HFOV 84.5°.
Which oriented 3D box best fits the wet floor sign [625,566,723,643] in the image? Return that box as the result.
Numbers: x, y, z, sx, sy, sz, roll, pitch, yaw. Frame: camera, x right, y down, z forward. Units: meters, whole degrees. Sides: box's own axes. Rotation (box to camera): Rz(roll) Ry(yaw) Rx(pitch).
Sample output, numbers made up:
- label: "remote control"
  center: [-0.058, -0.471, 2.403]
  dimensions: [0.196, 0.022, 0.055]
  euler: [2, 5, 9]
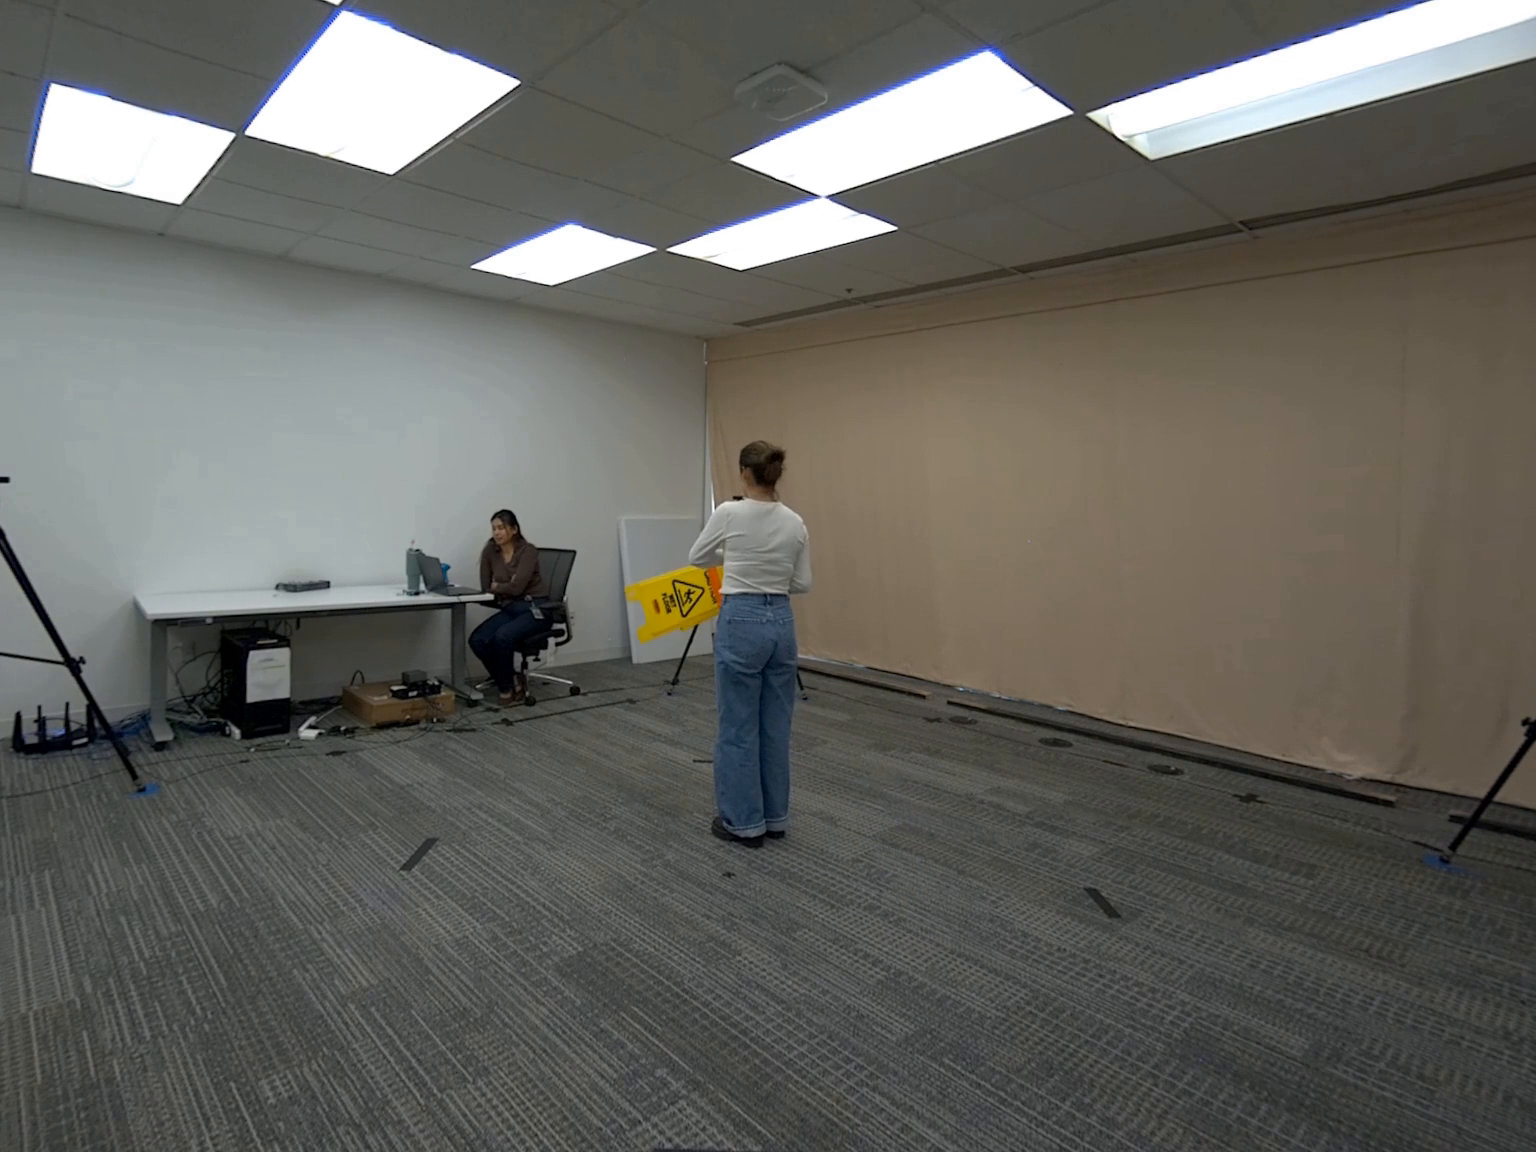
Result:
- label: "wet floor sign"
  center: [-0.331, 0.093, 3.862]
  dimensions: [0.654, 0.284, 0.284]
  euler: [-23, -8, 42]
